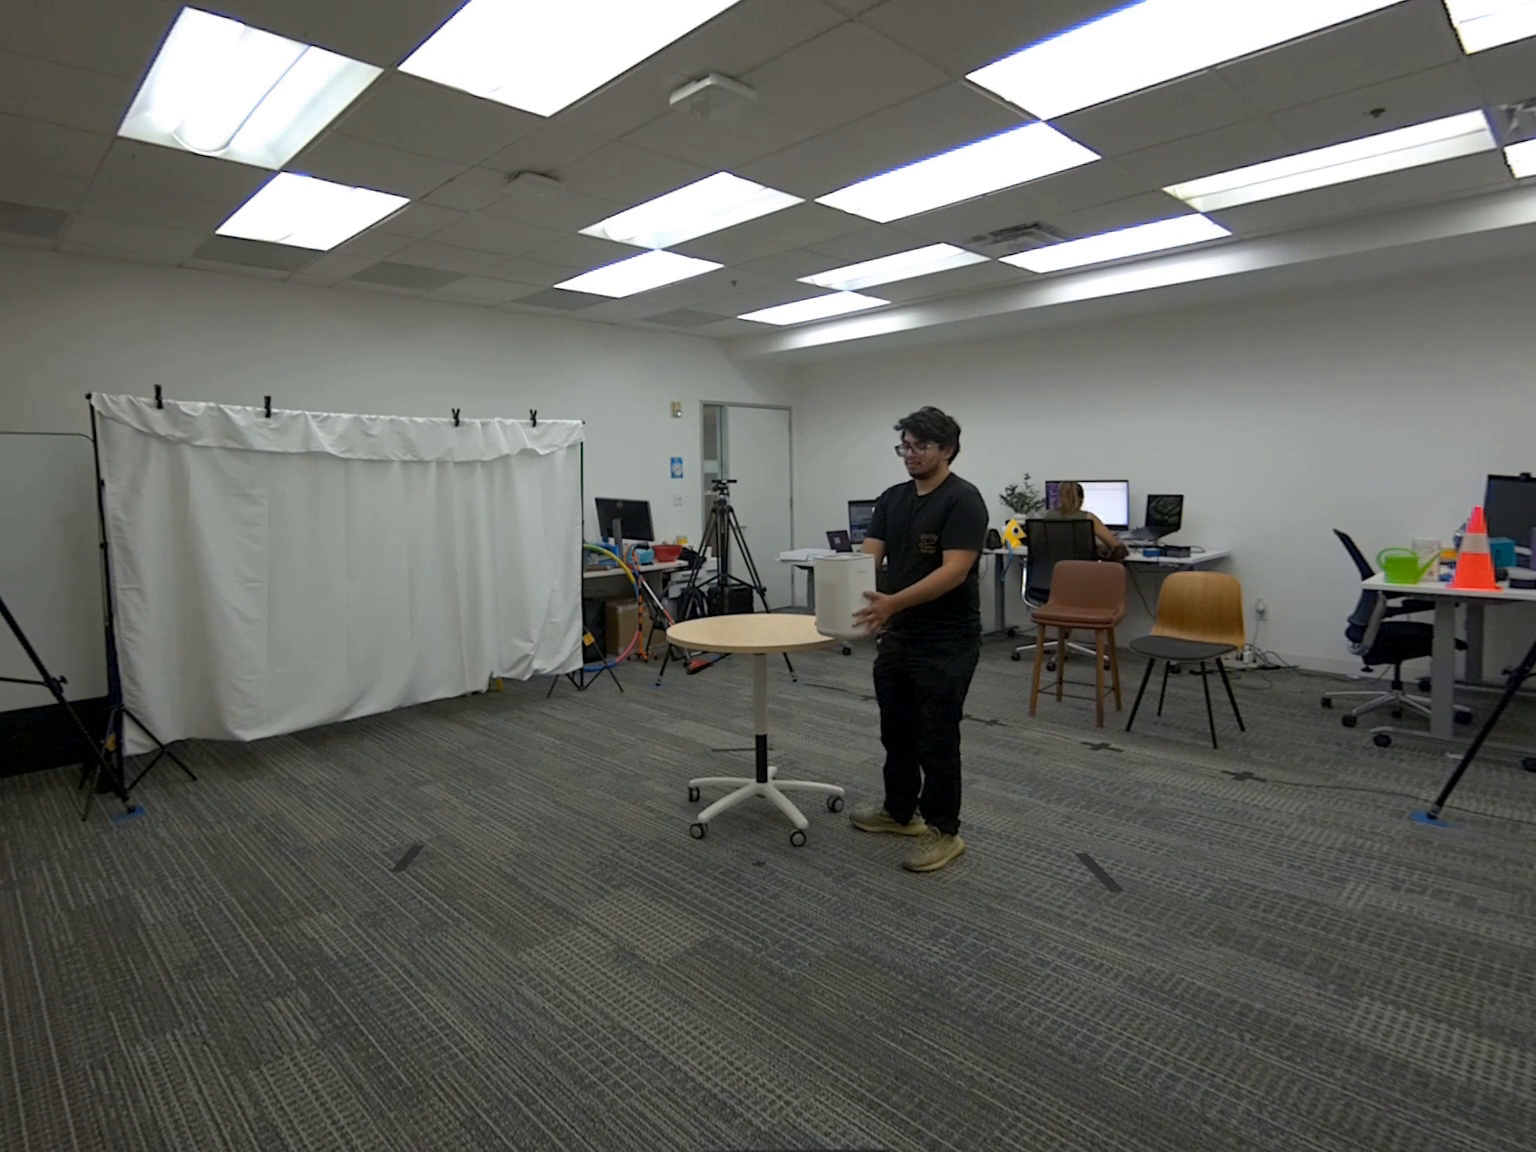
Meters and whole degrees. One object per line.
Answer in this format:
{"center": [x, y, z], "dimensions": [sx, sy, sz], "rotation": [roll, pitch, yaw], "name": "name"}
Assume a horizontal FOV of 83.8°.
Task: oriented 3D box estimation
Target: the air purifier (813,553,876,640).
{"center": [0.265, 0.062, 2.820], "dimensions": [0.167, 0.264, 0.177], "rotation": [-7, 6, -42], "name": "air purifier"}
